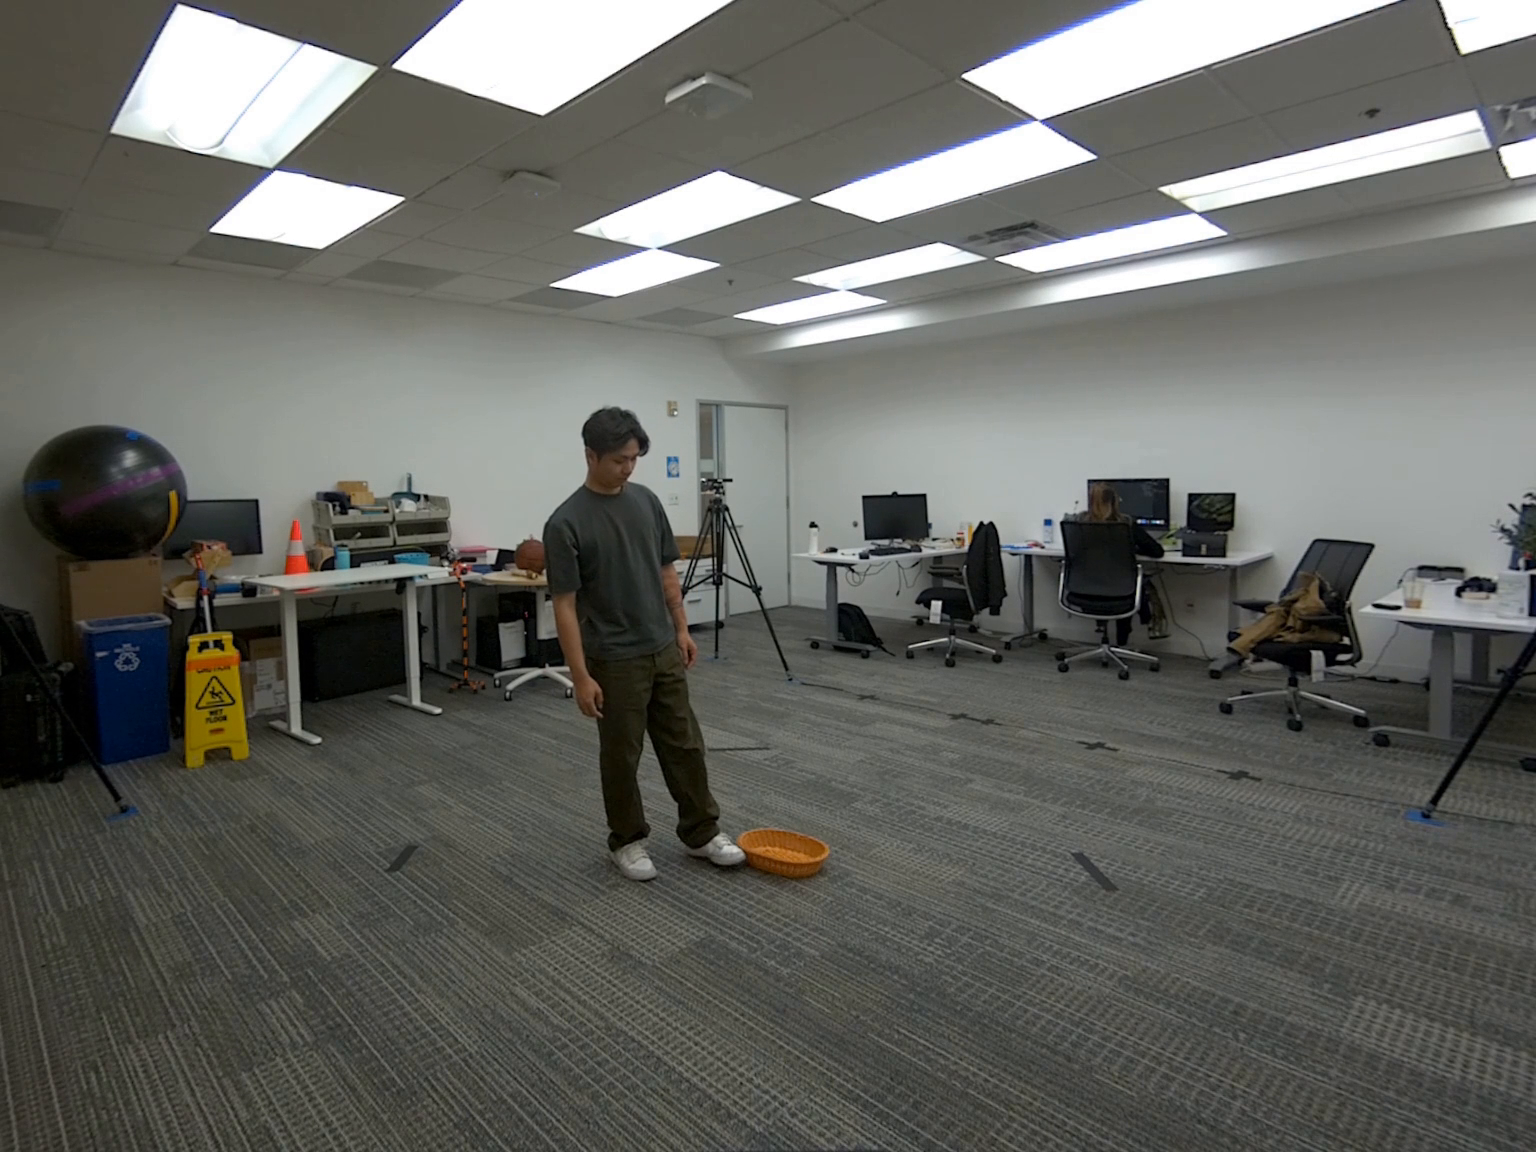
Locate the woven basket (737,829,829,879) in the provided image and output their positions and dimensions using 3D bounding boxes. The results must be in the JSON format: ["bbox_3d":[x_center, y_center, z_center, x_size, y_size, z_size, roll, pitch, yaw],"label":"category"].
[{"bbox_3d":[0.054,0.995,3.098,0.360,0.073,0.246,4,6,33],"label":"woven basket"}]
